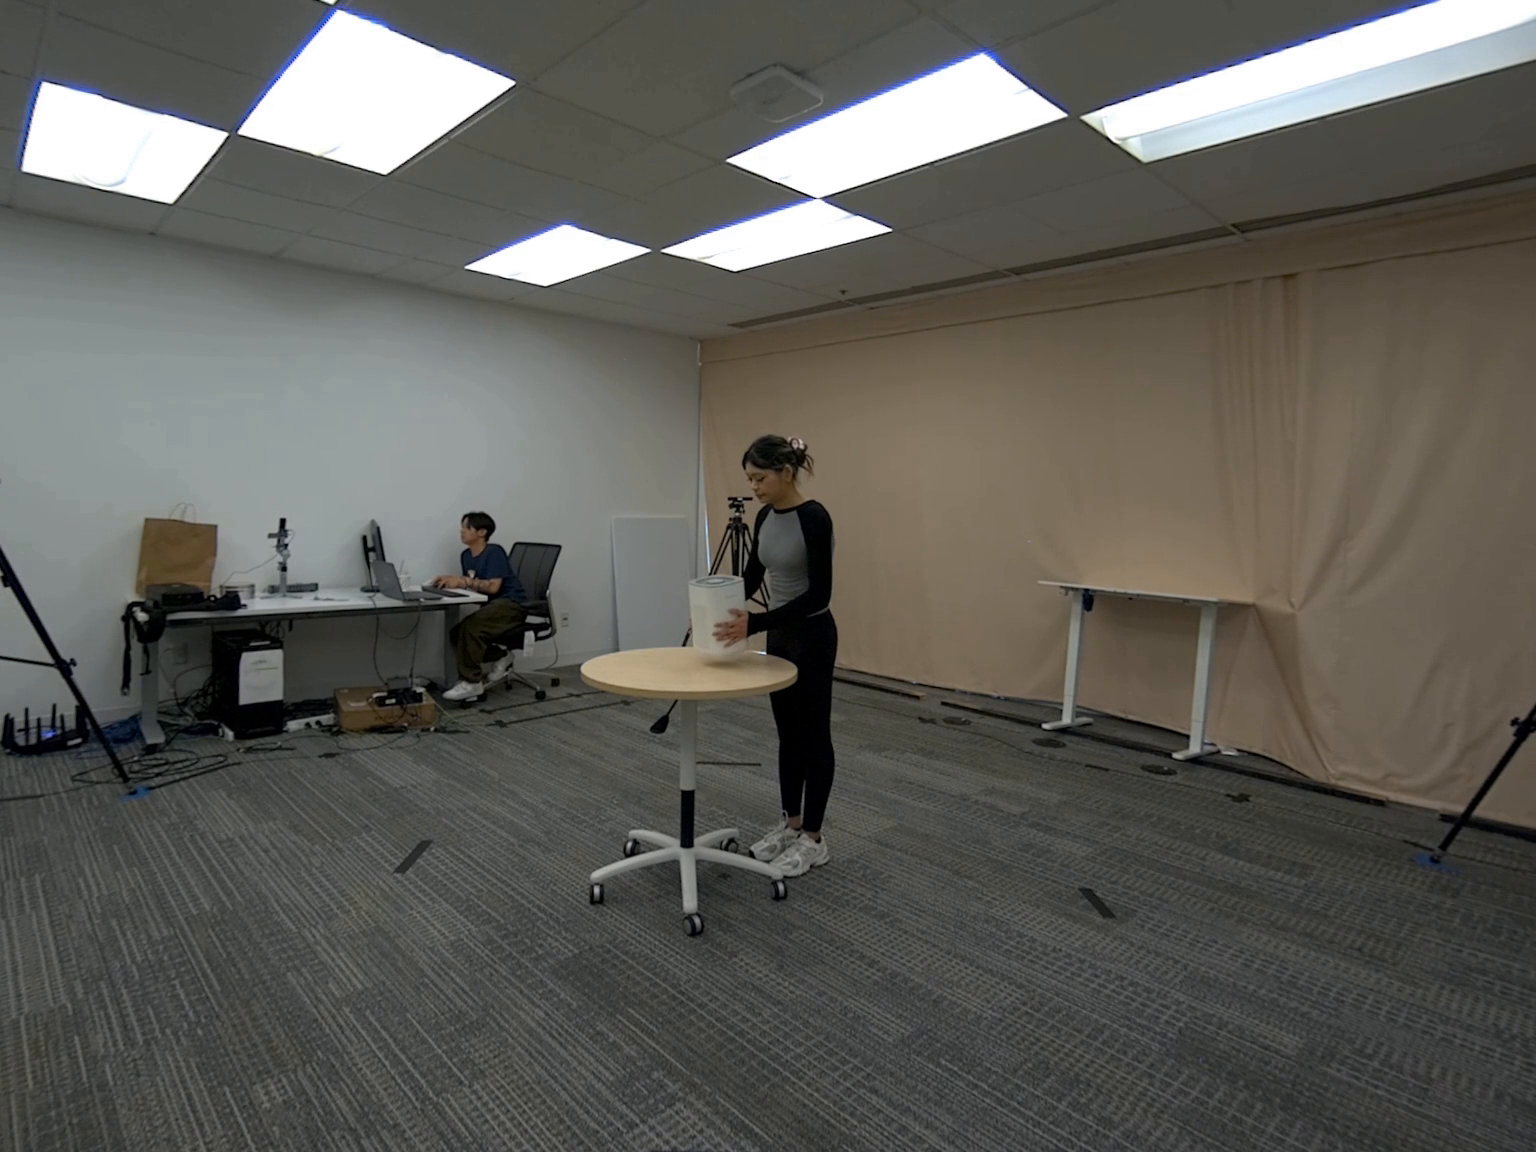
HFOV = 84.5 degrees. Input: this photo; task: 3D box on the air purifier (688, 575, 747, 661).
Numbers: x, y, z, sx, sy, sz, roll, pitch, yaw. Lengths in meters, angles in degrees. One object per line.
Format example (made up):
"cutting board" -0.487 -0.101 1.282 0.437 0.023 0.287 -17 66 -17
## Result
"air purifier" -0.186 0.146 3.005 0.176 0.263 0.168 3 12 45
